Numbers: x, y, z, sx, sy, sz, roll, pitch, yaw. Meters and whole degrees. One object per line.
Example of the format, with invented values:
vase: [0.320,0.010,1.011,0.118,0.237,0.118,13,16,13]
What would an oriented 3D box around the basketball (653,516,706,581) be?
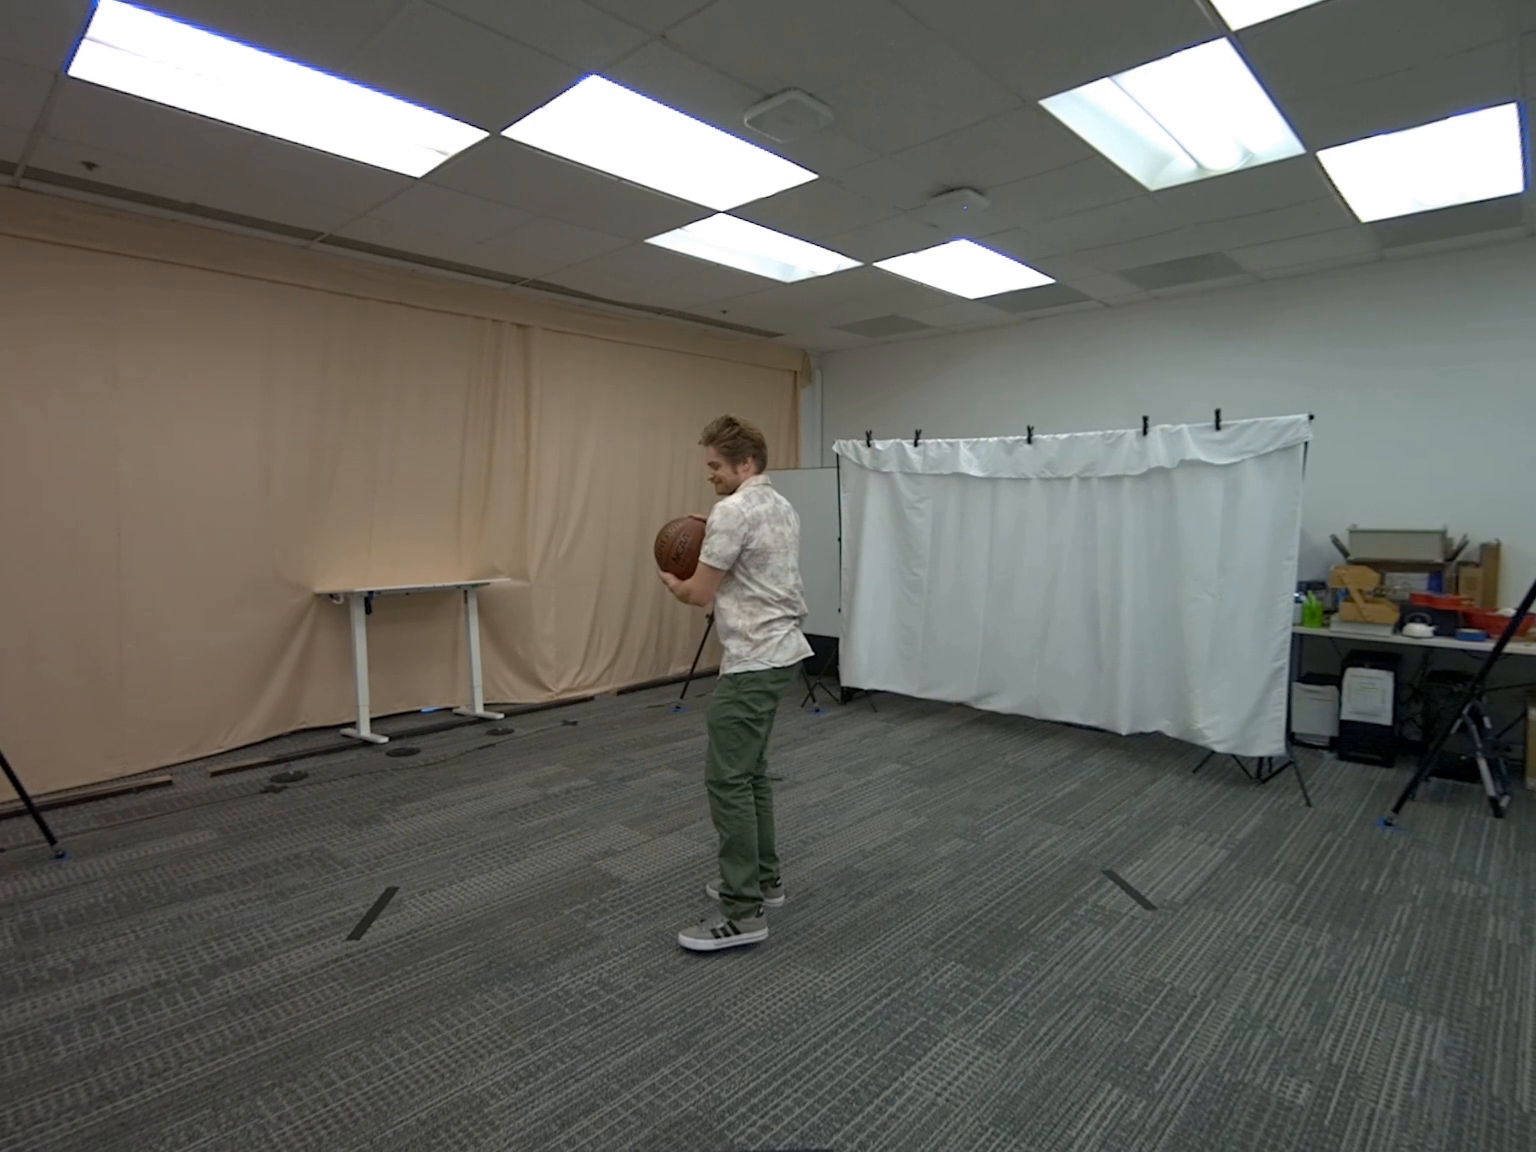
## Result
basketball: [-0.307,-0.085,3.136,0.236,0.235,0.237,0,4,-2]
